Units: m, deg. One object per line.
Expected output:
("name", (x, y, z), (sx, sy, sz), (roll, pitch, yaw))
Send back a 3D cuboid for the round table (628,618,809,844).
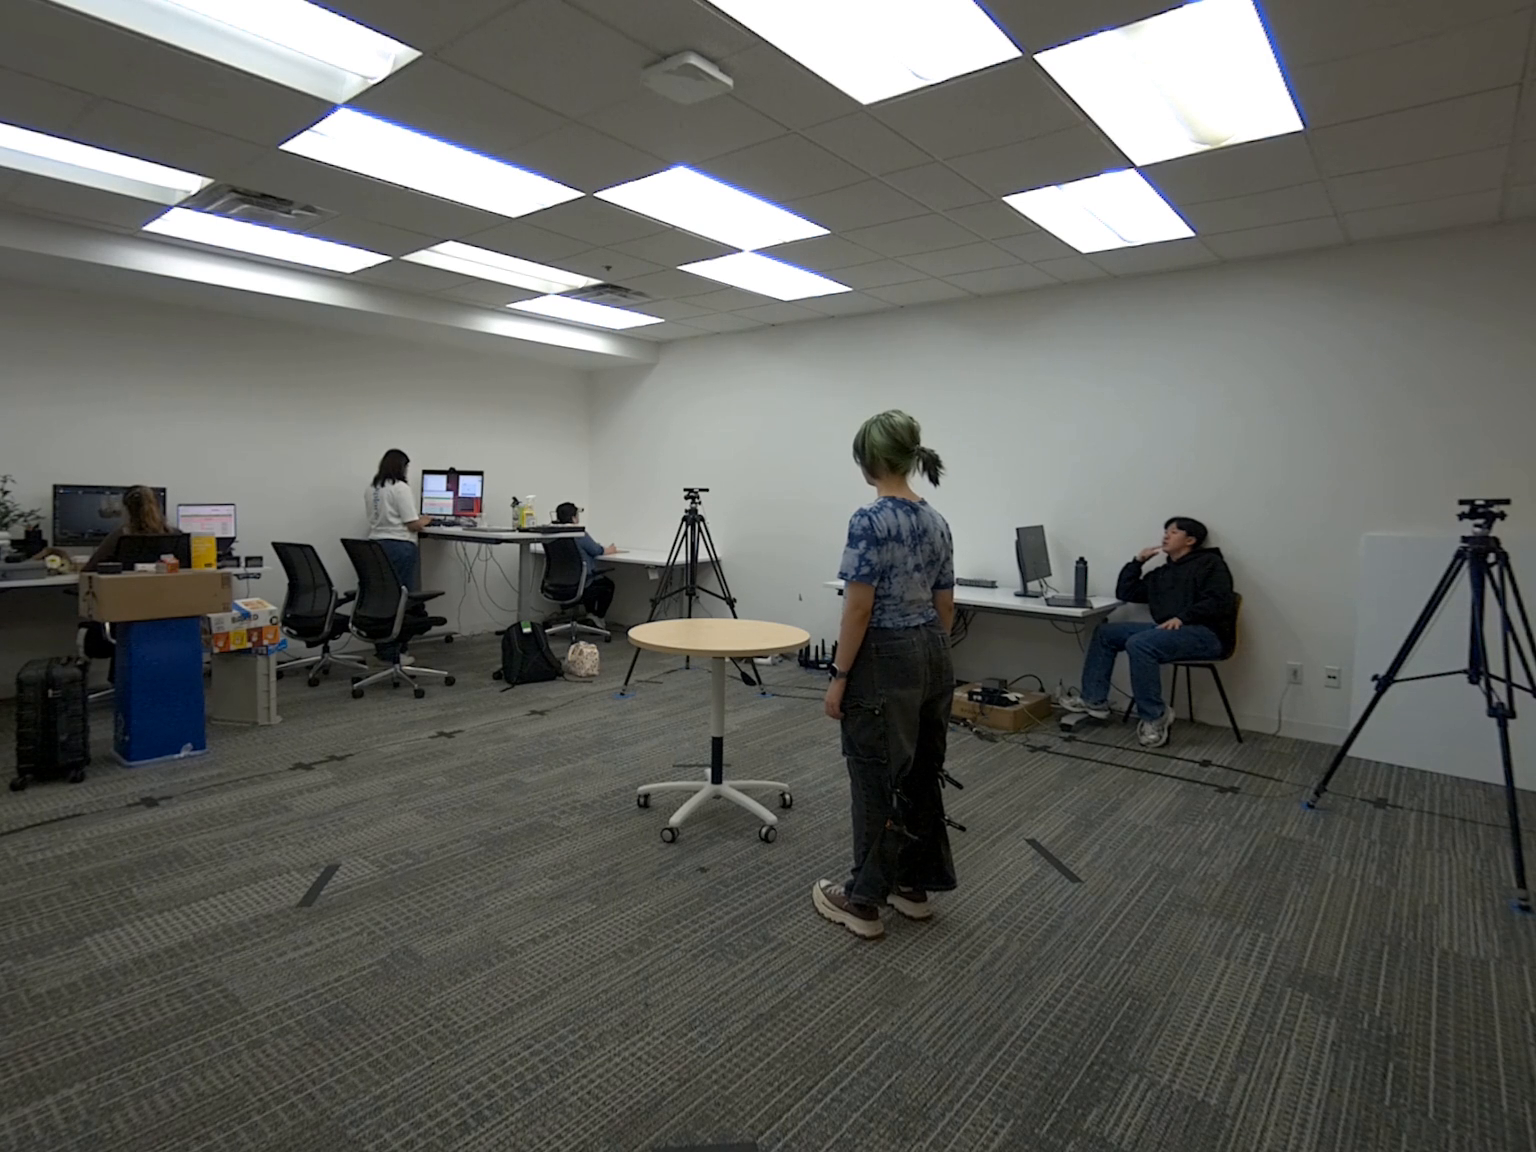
("round table", (-0.229, 0.632, 3.608), (0.763, 0.791, 0.768), (1, 4, -2))
